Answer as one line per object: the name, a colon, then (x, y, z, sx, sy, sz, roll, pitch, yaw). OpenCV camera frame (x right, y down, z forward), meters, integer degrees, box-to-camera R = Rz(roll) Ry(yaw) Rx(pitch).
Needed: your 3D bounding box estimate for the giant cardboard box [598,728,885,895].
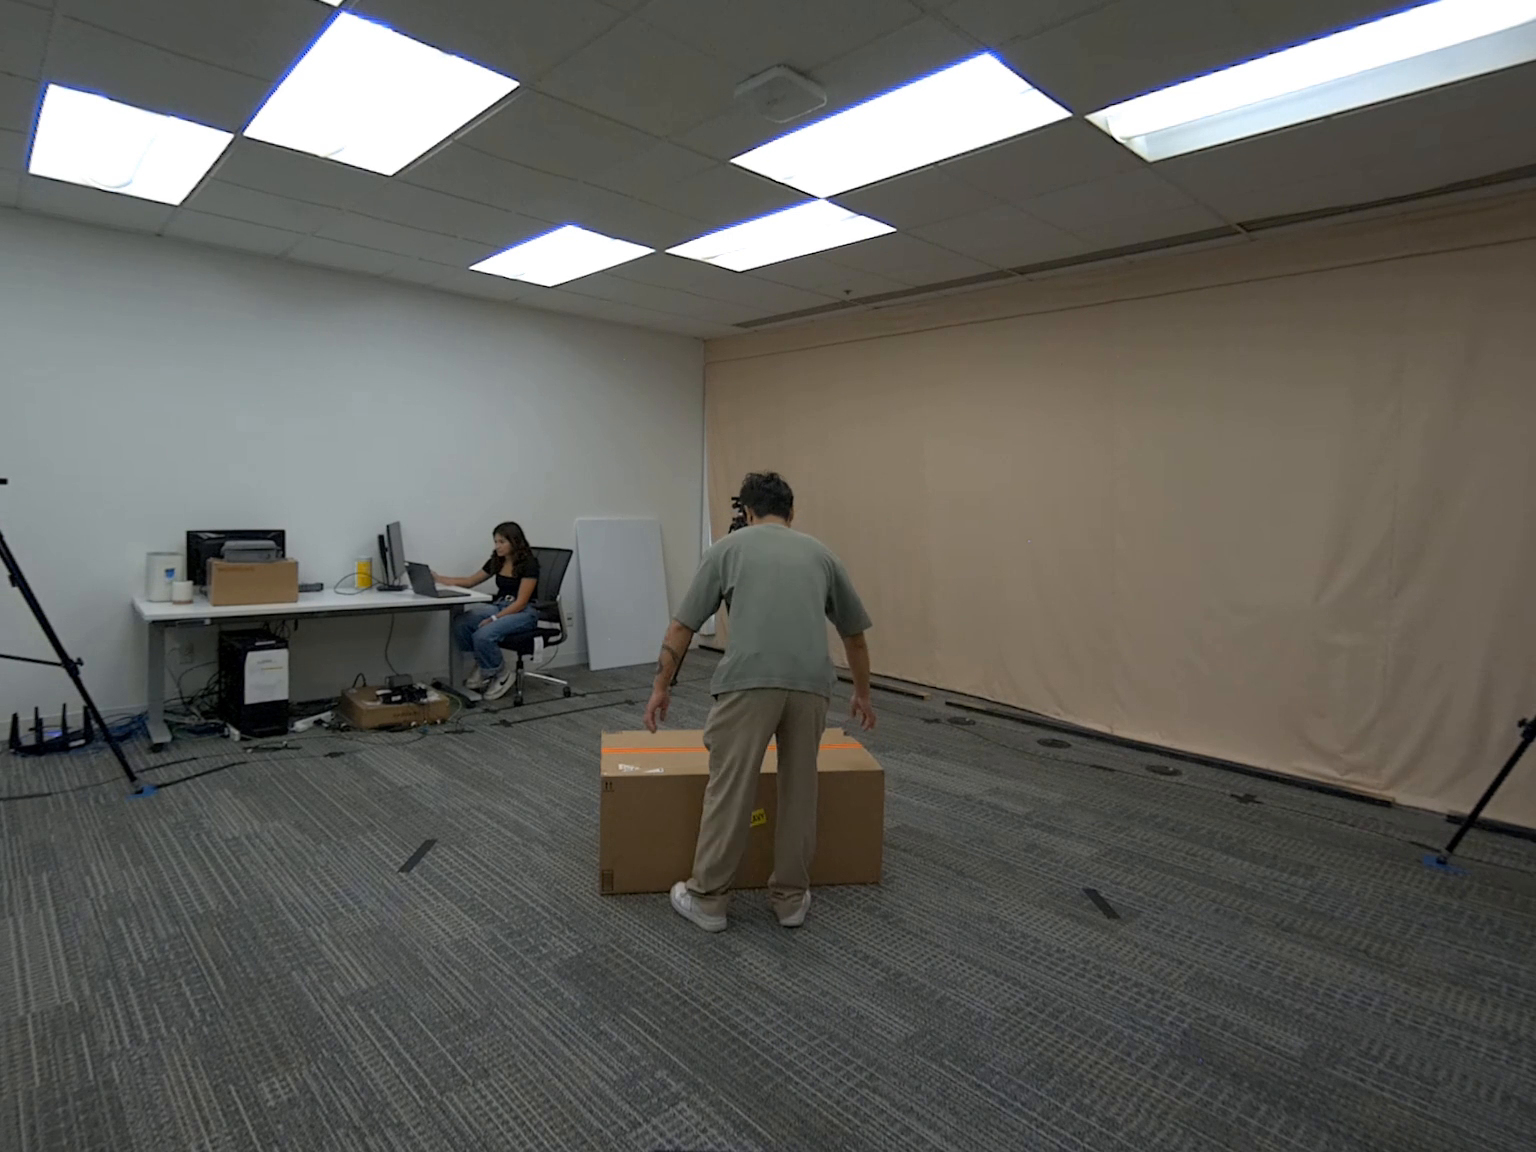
giant cardboard box: (-0.143, 0.875, 3.271, 1.018, 0.425, 0.583, 1, 5, -9)
